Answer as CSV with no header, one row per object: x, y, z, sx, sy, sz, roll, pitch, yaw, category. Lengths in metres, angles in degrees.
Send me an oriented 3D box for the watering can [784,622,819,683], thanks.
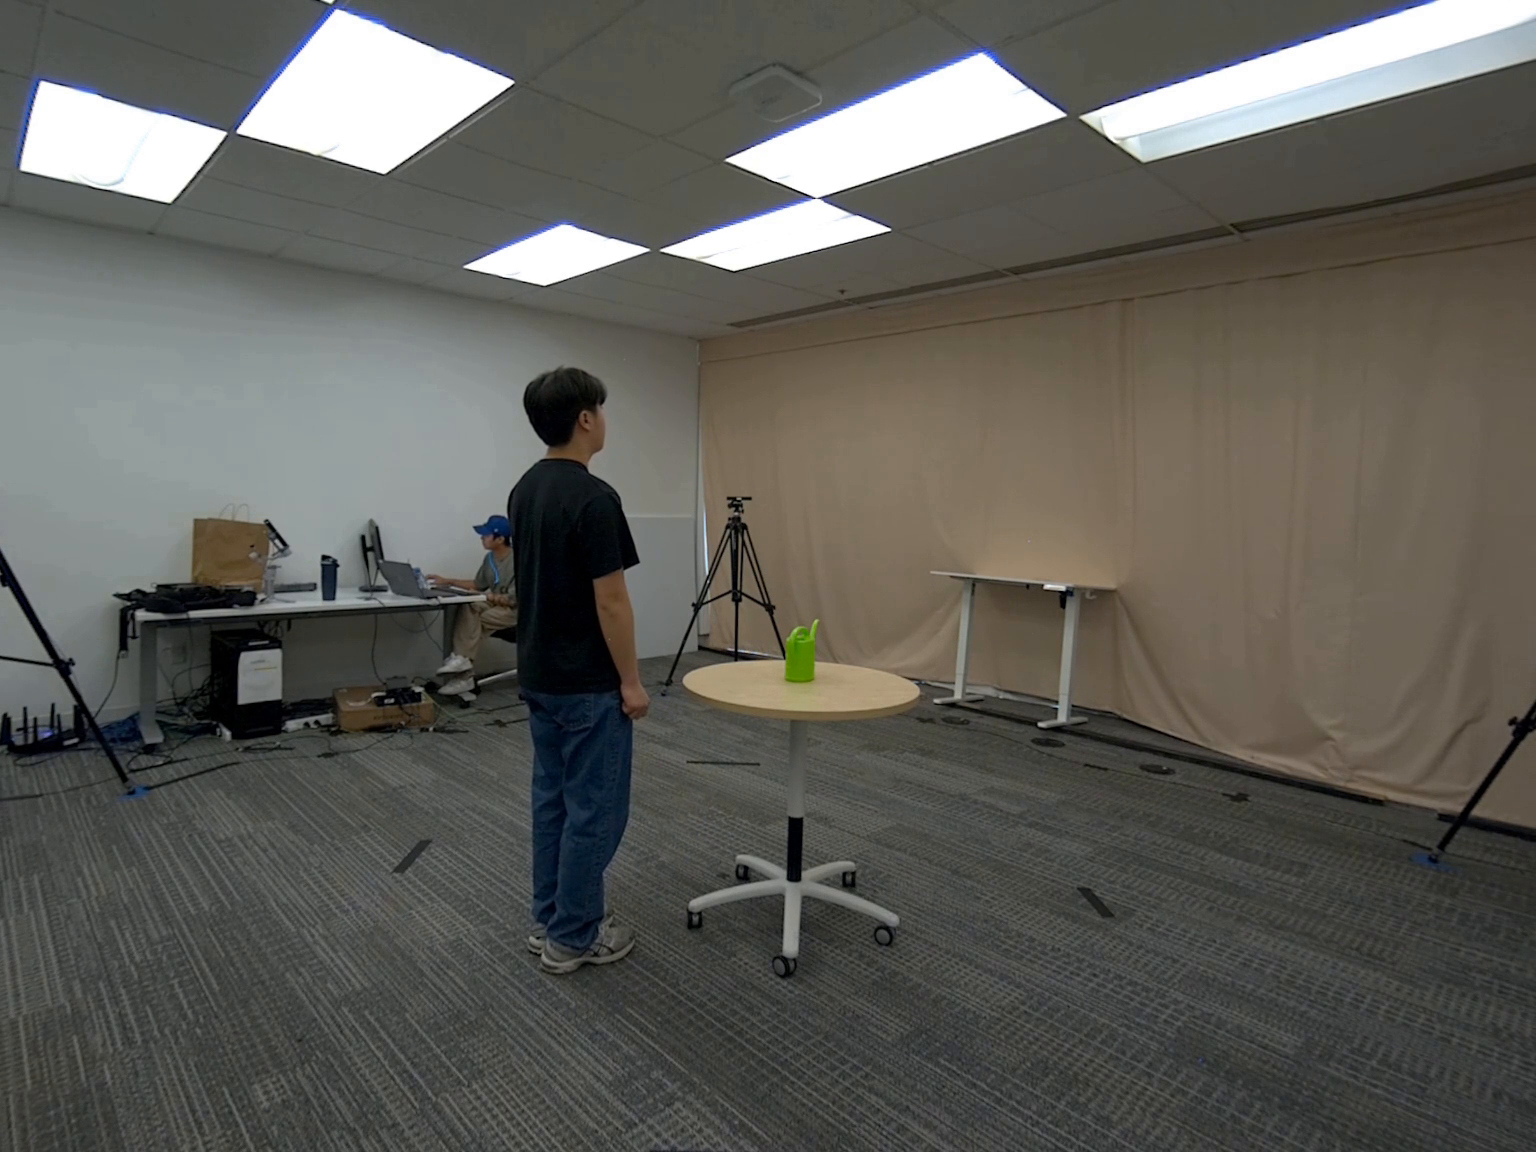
0.125,0.254,2.830,0.100,0.176,0.273,5,7,33,watering can
